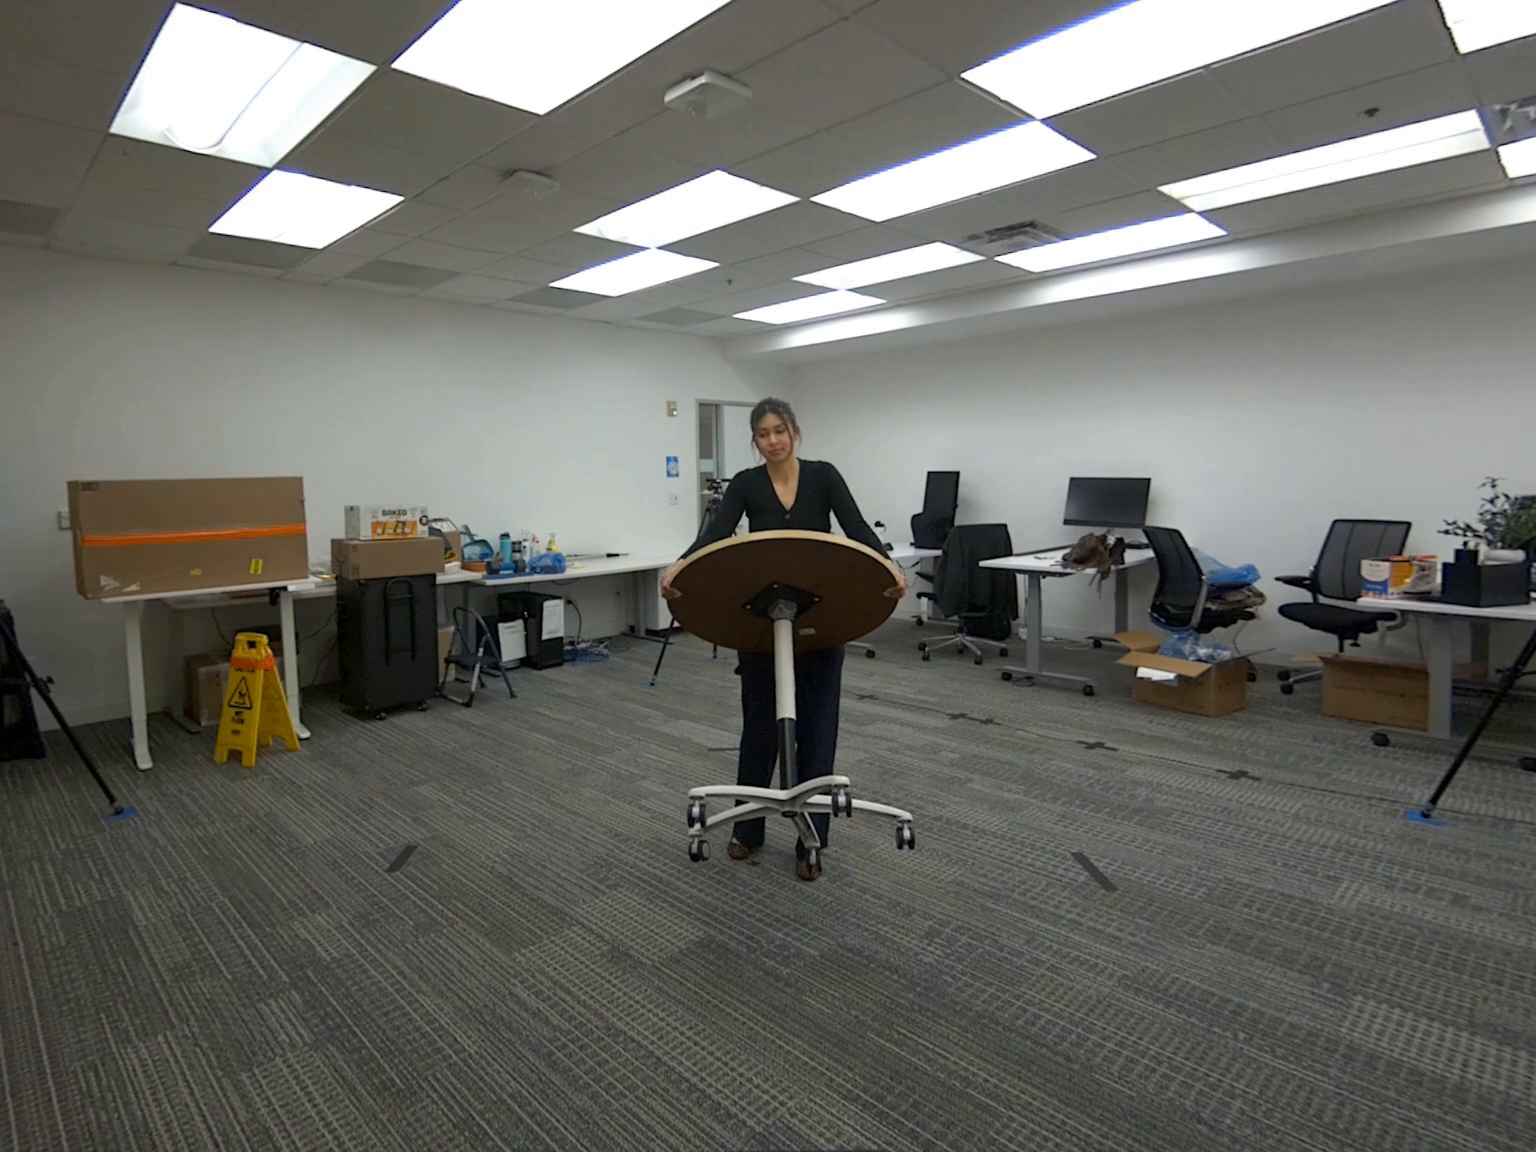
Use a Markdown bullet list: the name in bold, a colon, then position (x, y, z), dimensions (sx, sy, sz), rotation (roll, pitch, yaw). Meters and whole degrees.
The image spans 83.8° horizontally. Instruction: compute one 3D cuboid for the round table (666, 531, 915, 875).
- **round table**: position (0.058, 0.410, 2.605), dimensions (0.763, 0.814, 0.746), rotation (0, -32, -2)
